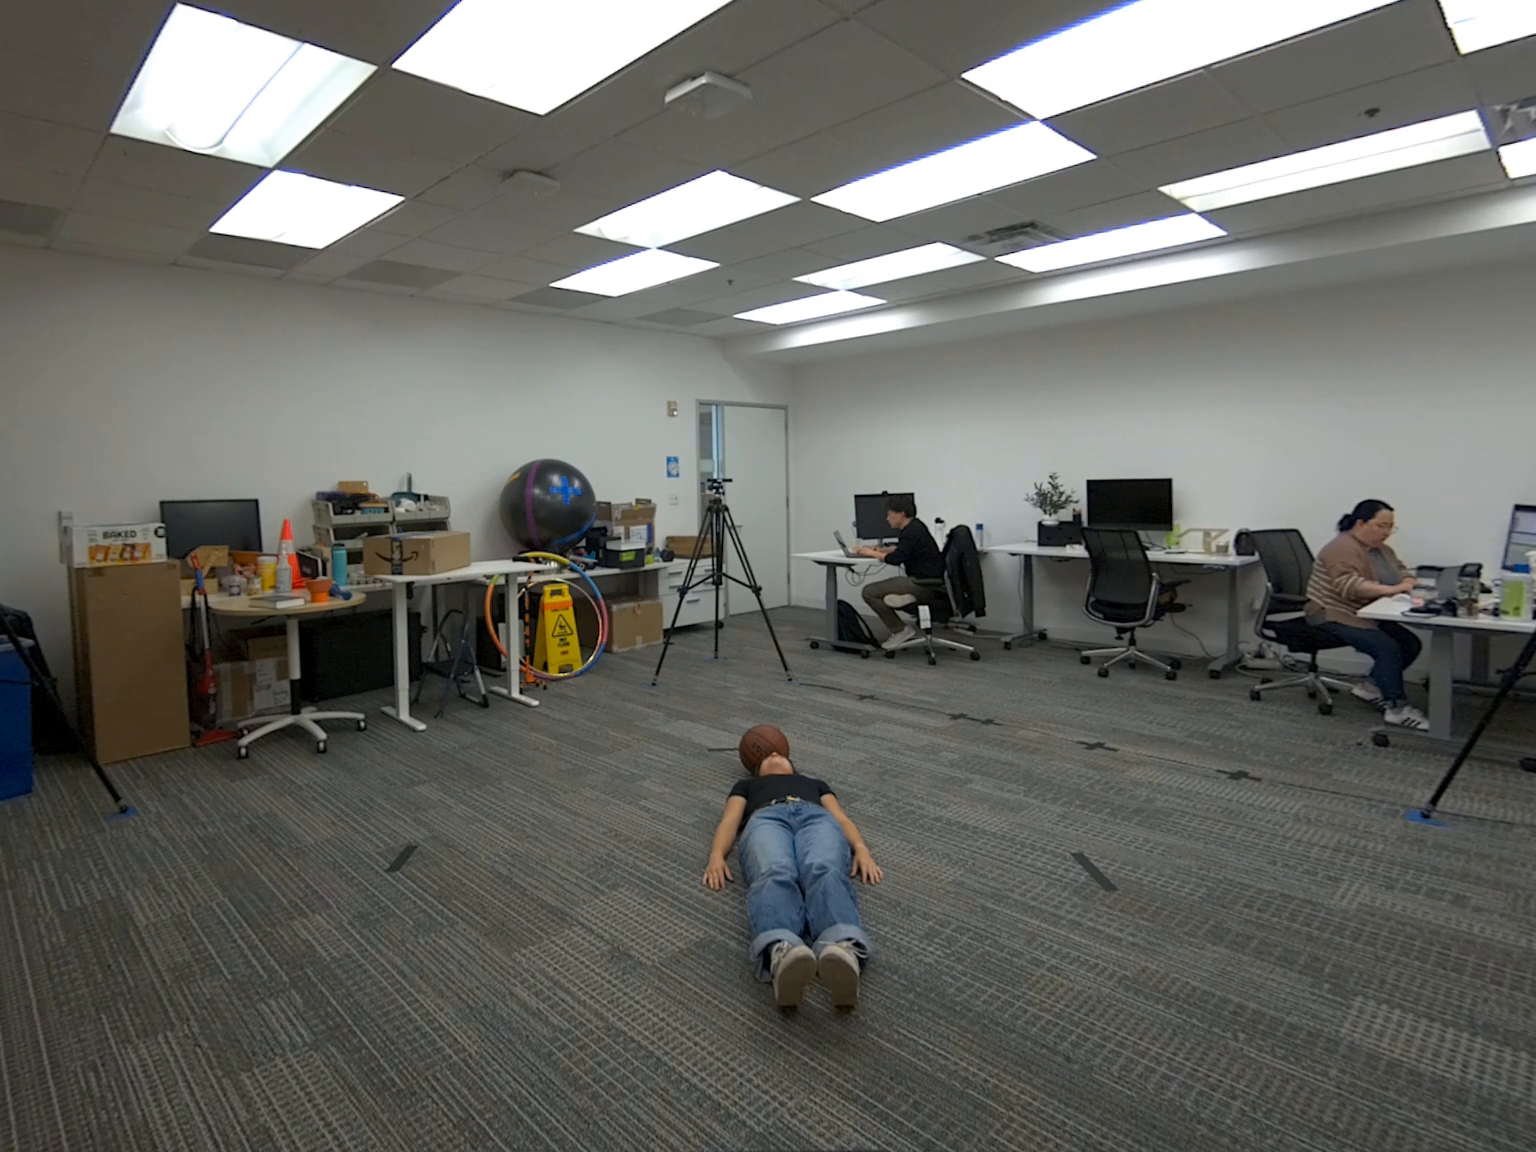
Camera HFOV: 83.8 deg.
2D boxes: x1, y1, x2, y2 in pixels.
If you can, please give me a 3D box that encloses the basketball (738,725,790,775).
[{"bbox_3d":[-0.018,0.819,4.034,0.236,0.235,0.237,-1,5,-2],"label":"basketball"}]
